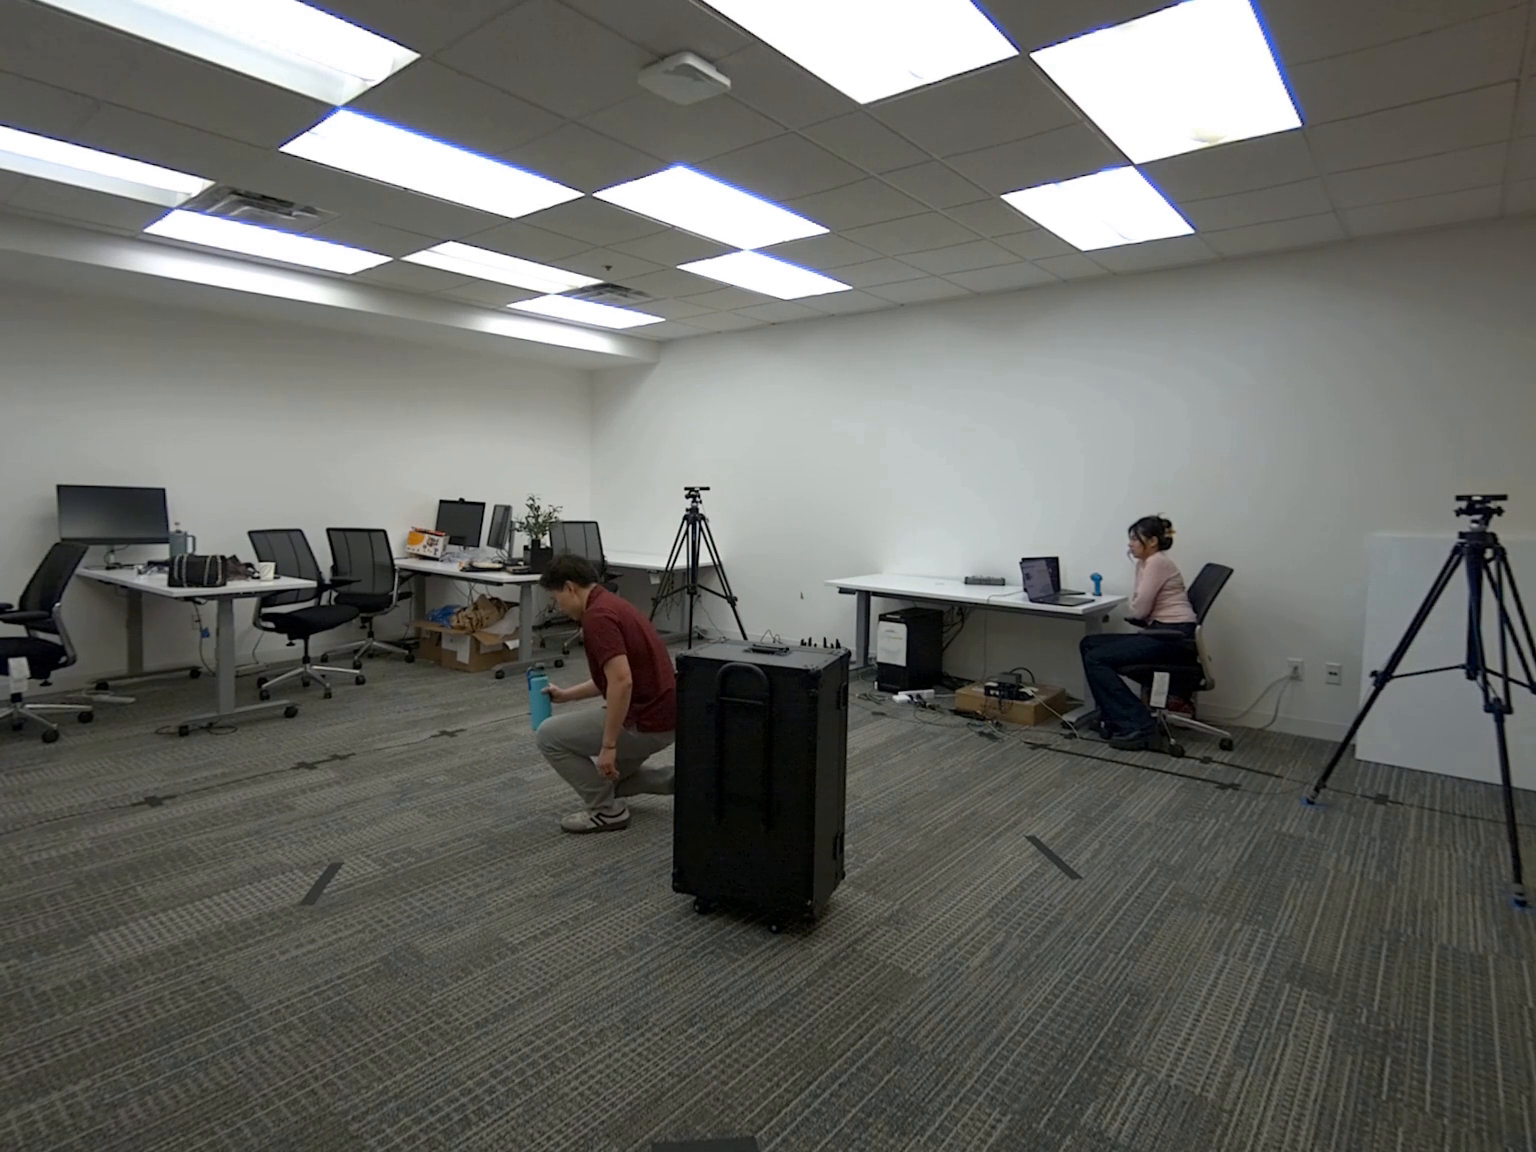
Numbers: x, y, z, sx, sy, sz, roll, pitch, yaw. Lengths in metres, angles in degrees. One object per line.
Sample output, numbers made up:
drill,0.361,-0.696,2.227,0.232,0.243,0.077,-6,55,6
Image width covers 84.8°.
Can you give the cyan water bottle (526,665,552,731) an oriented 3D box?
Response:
cyan water bottle,-1.013,0.522,3.709,0.092,0.284,0.092,-9,-2,-2
